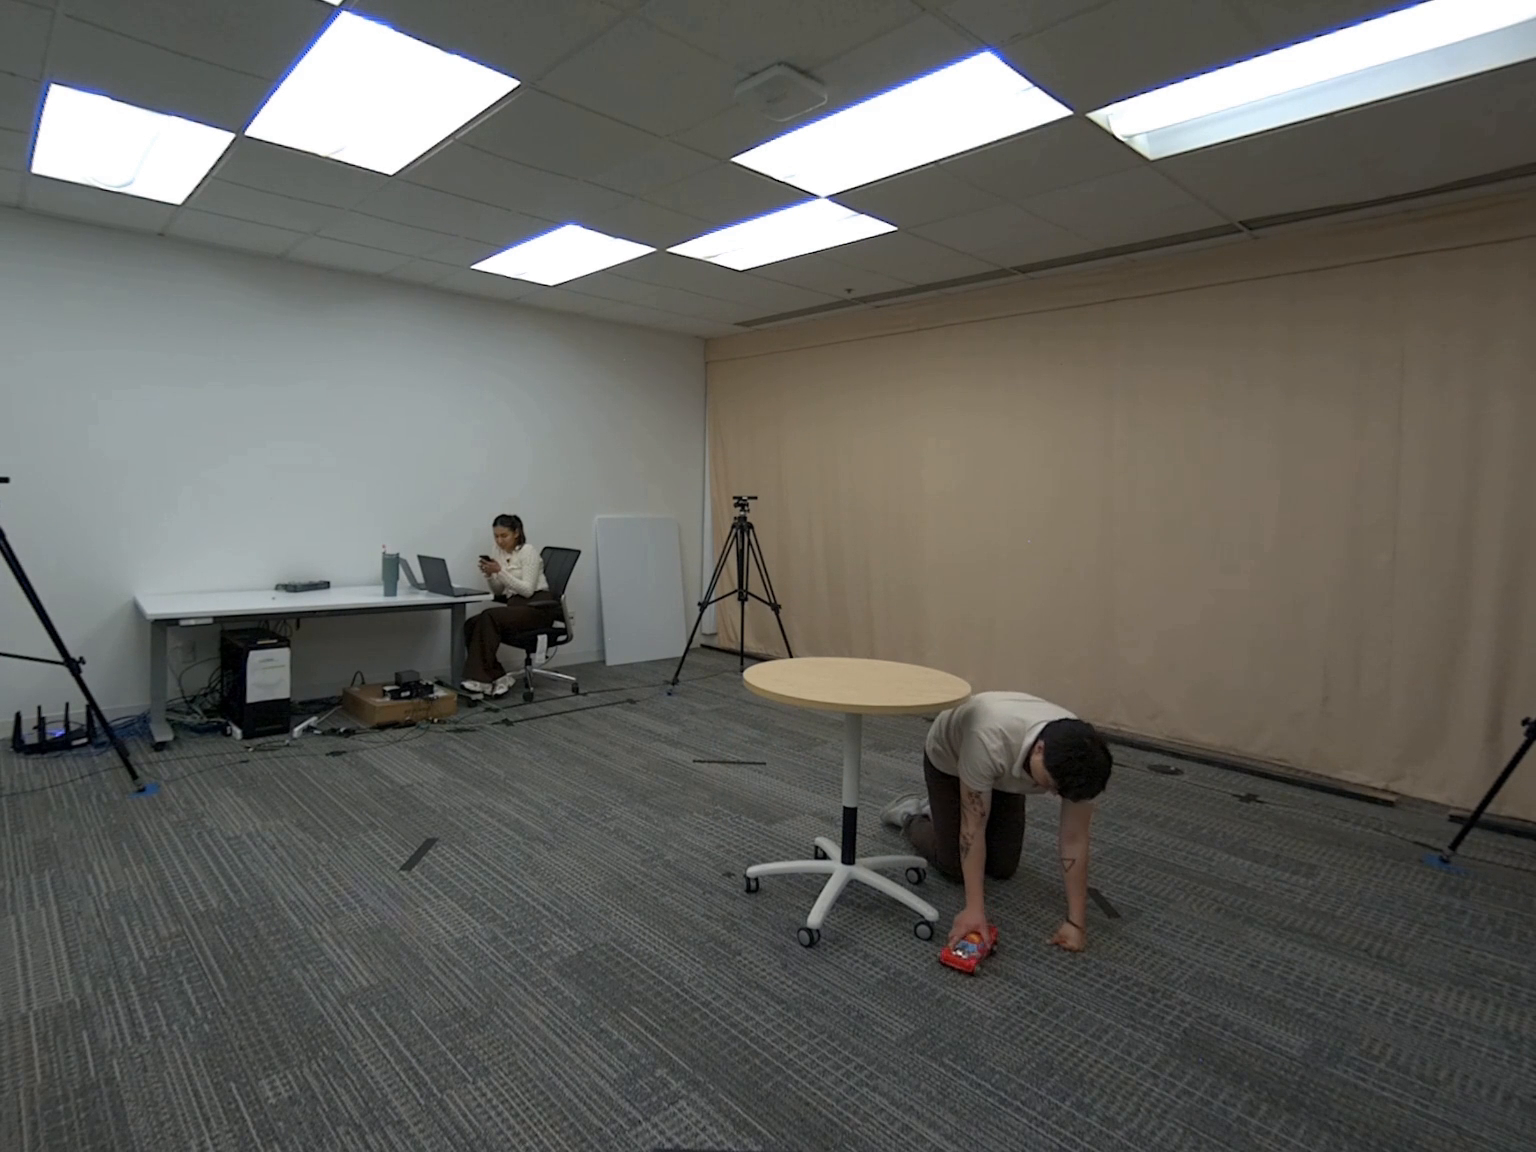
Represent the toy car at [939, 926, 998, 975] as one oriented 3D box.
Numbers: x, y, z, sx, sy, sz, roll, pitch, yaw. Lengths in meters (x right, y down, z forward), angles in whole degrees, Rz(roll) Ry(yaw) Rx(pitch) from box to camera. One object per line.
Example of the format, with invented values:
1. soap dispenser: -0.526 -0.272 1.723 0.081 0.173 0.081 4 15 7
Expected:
1. toy car: 0.623 1.140 2.585 0.133 0.082 0.251 3 16 34
